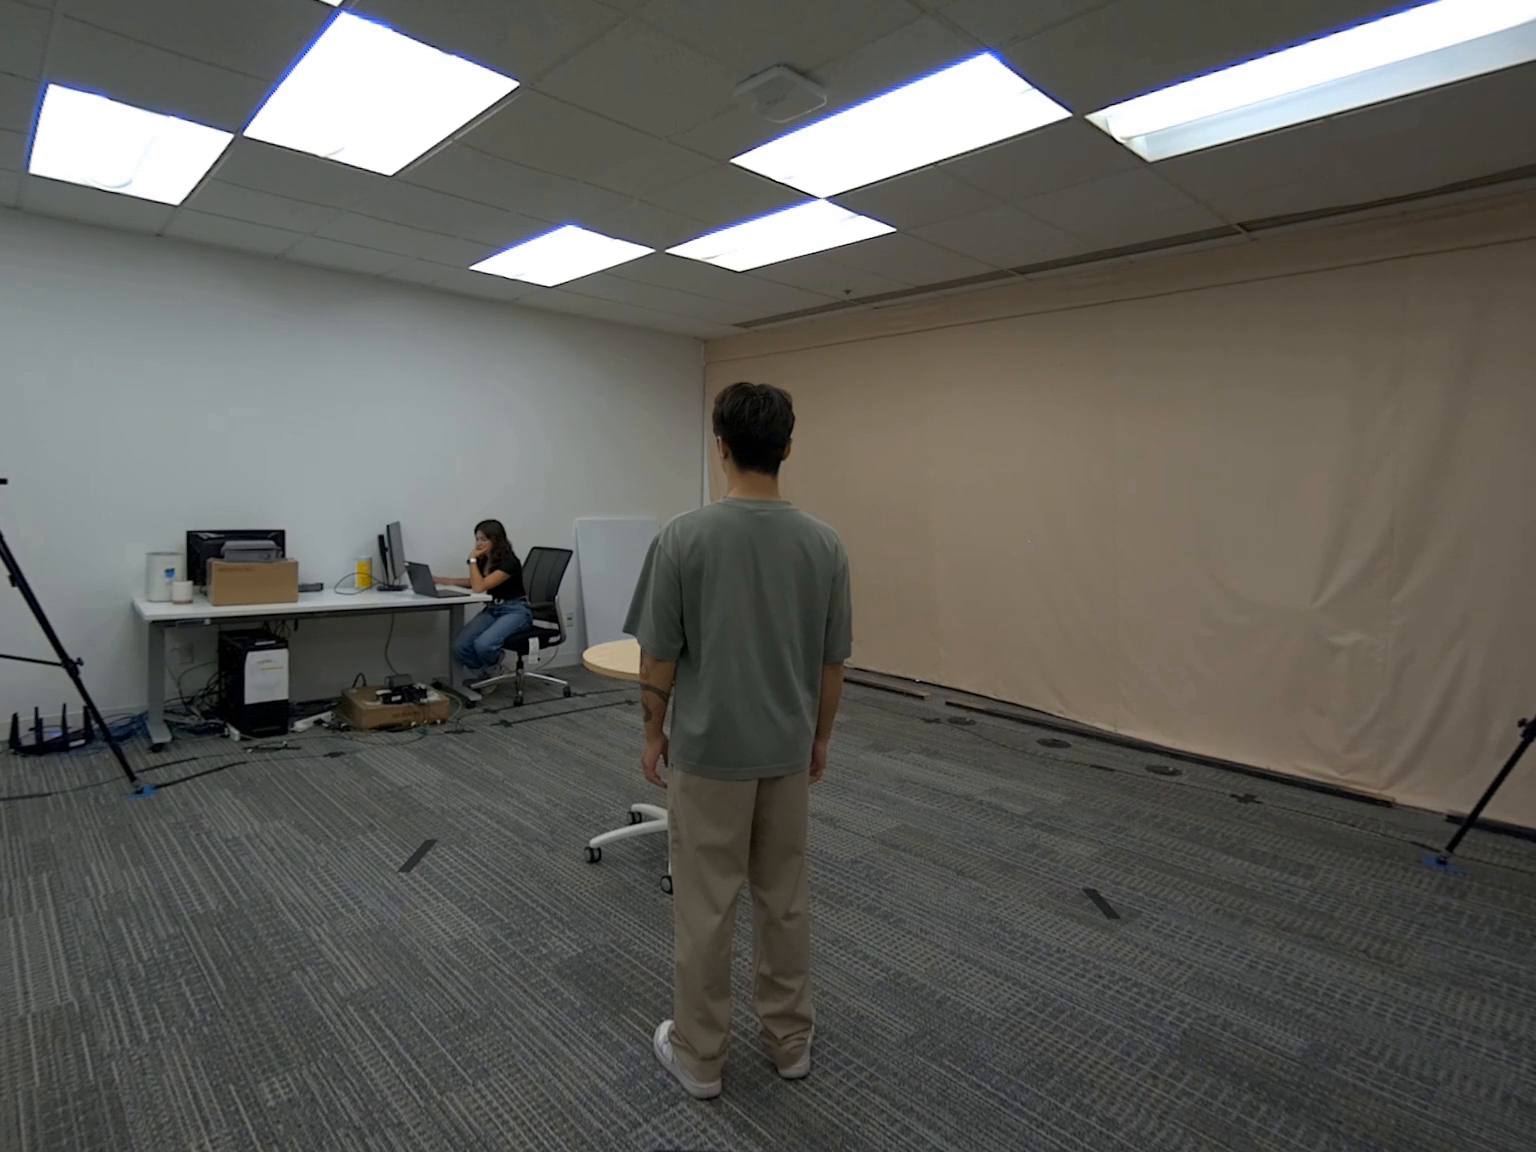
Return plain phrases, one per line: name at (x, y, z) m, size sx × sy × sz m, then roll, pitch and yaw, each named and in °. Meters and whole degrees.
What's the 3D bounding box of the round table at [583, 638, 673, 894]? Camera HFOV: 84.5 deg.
round table at (-0.334, 0.697, 3.268) m, size 0.784 × 0.784 × 0.788 m, roll 2°, pitch 5°, yaw -2°
